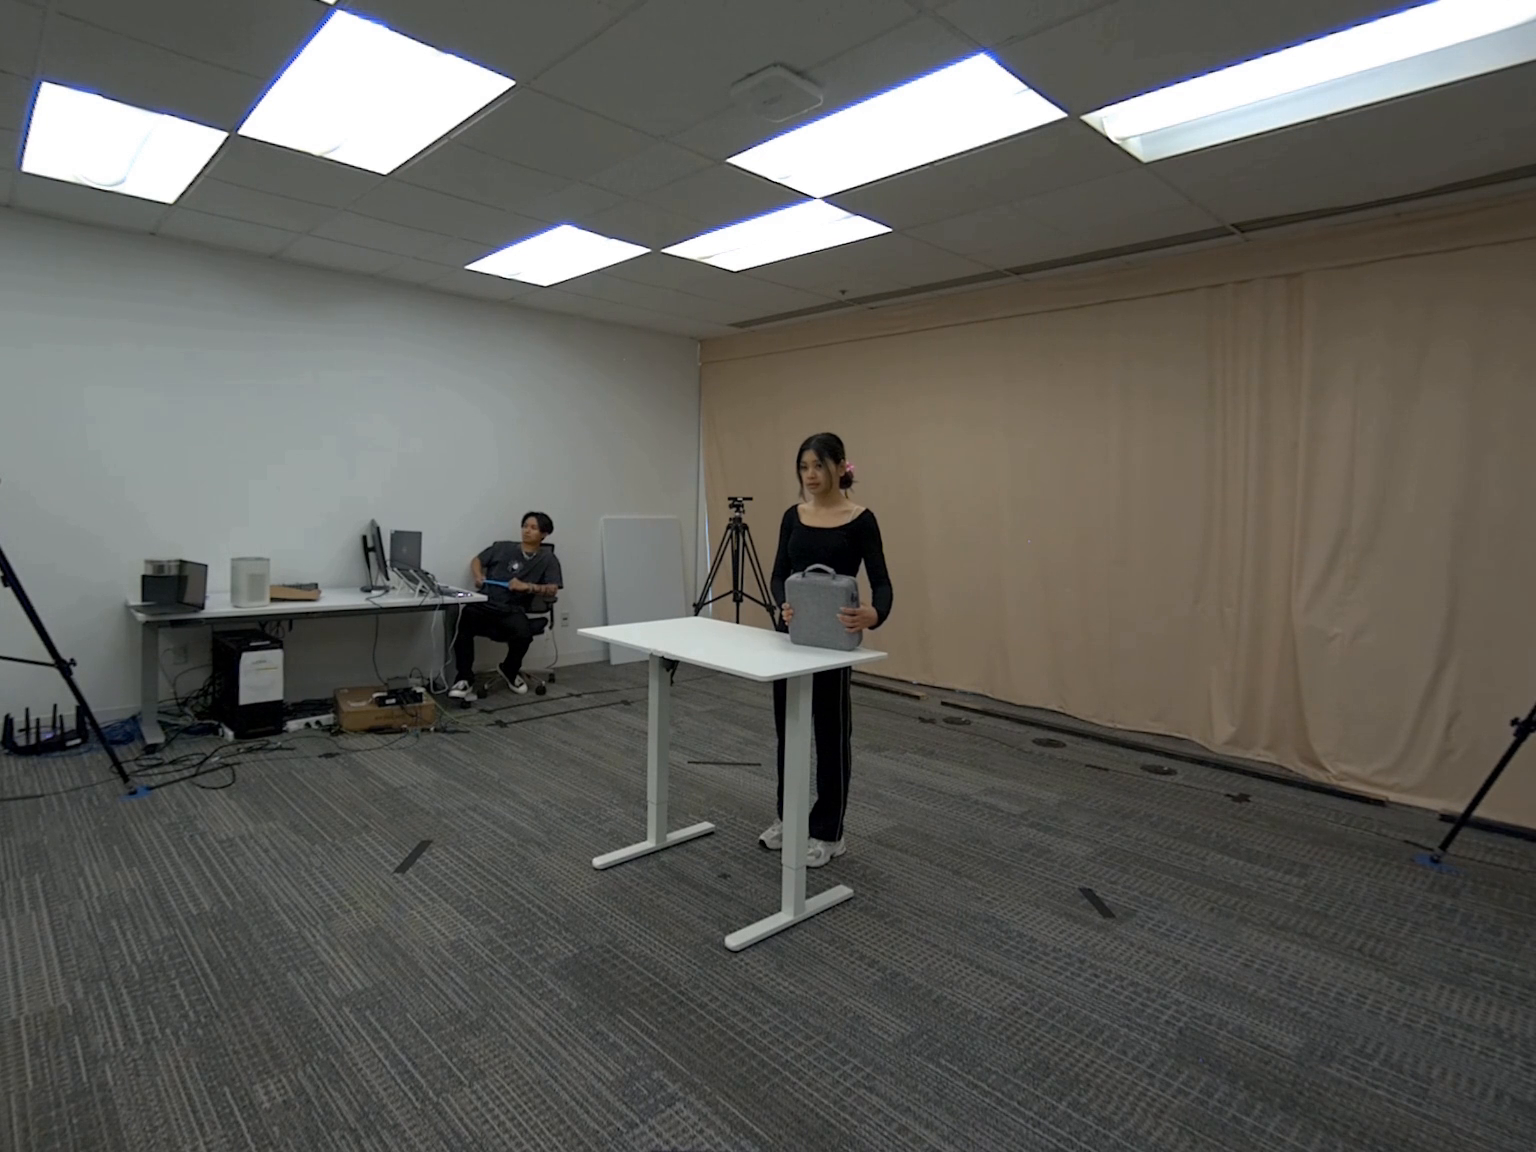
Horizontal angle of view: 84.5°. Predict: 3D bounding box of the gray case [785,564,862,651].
[{"bbox_3d":[0.190,0.121,2.921,0.263,0.257,0.103,5,18,34],"label":"gray case"}]
